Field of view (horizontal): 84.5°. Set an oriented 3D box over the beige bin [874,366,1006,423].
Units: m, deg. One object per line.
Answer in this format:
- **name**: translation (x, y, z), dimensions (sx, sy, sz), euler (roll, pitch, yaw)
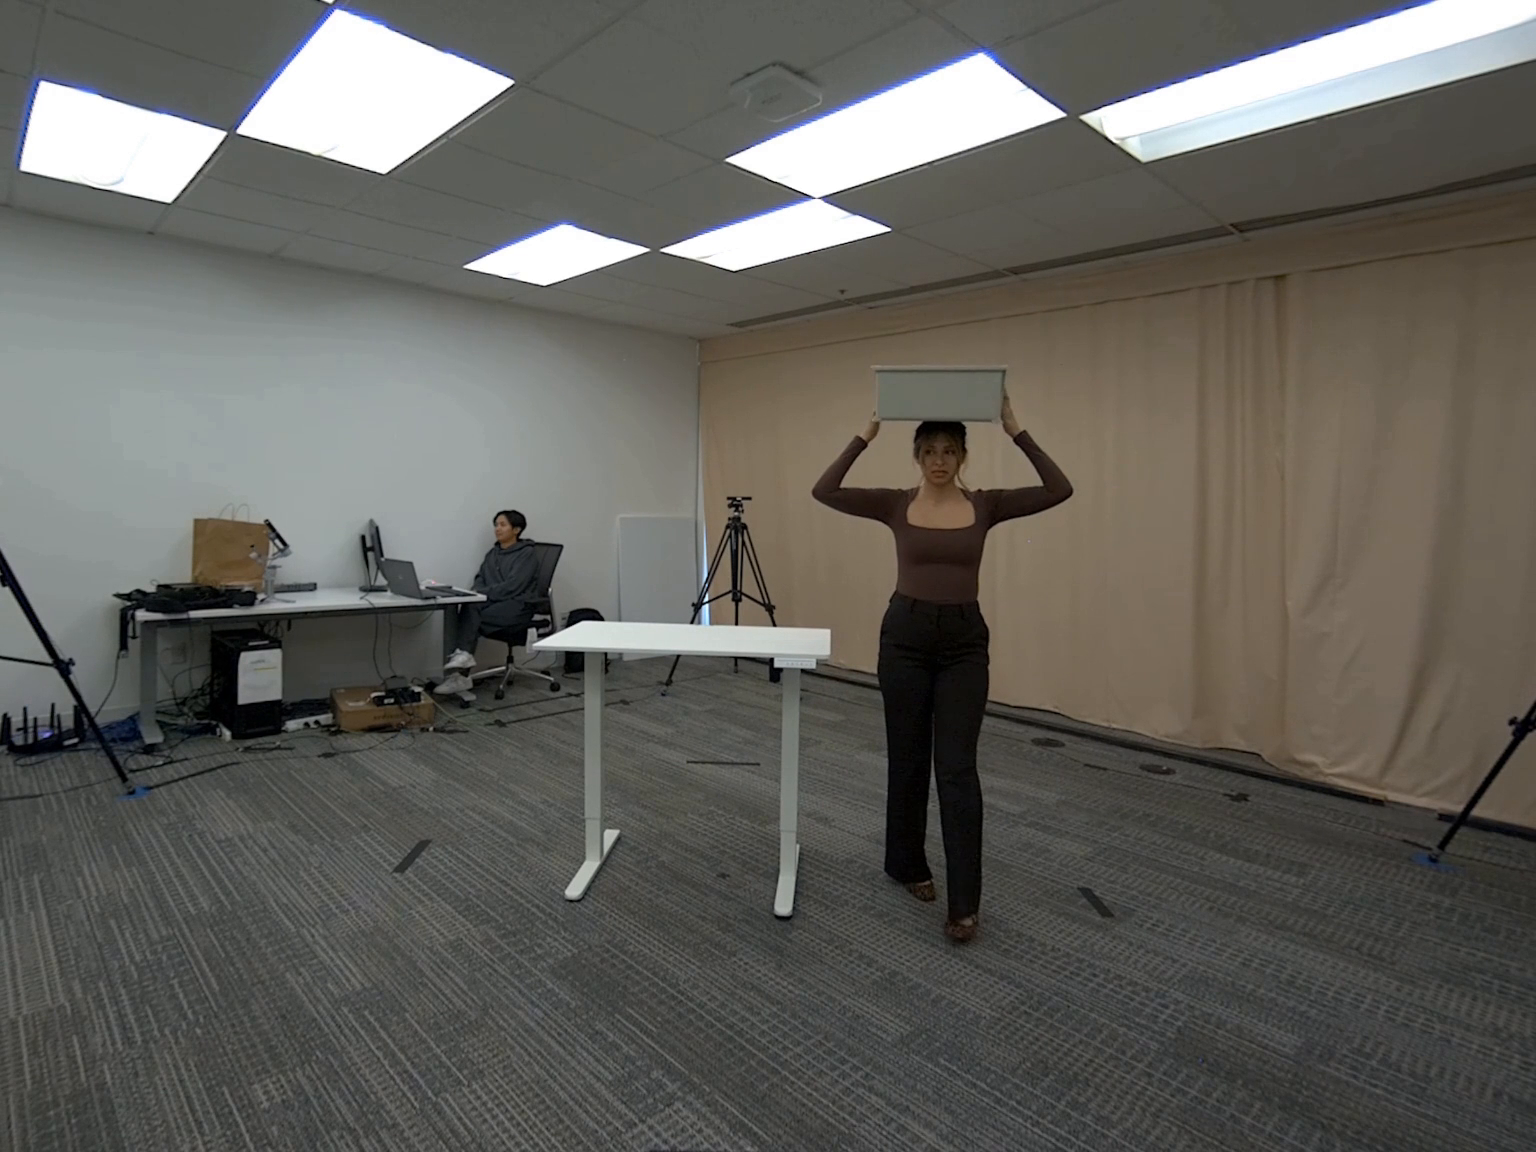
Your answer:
- **beige bin**: translation (0.579, -0.626, 2.858), dimensions (0.428, 0.187, 0.376), euler (3, 15, 15)
